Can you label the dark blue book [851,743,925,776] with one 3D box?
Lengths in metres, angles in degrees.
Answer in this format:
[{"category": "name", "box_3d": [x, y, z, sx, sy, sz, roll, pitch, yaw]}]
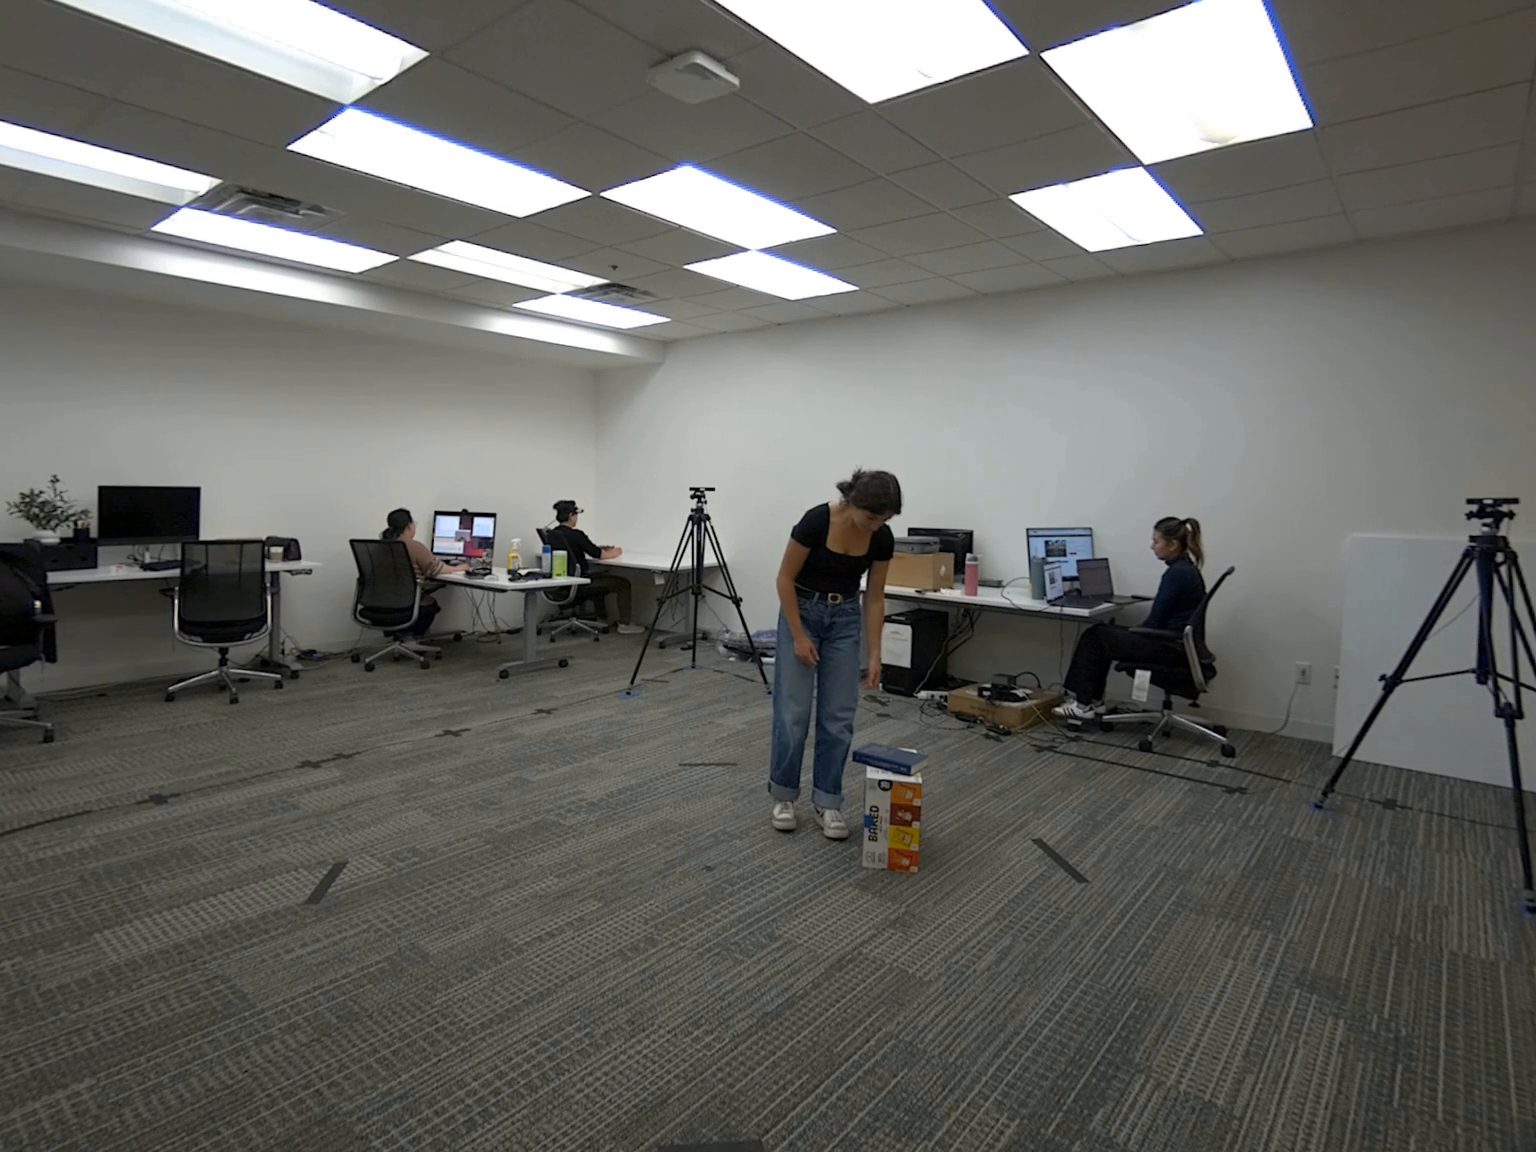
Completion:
[{"category": "dark blue book", "box_3d": [0.468, 0.701, 3.293, 0.253, 0.045, 0.159, 6, 6, 34]}]
